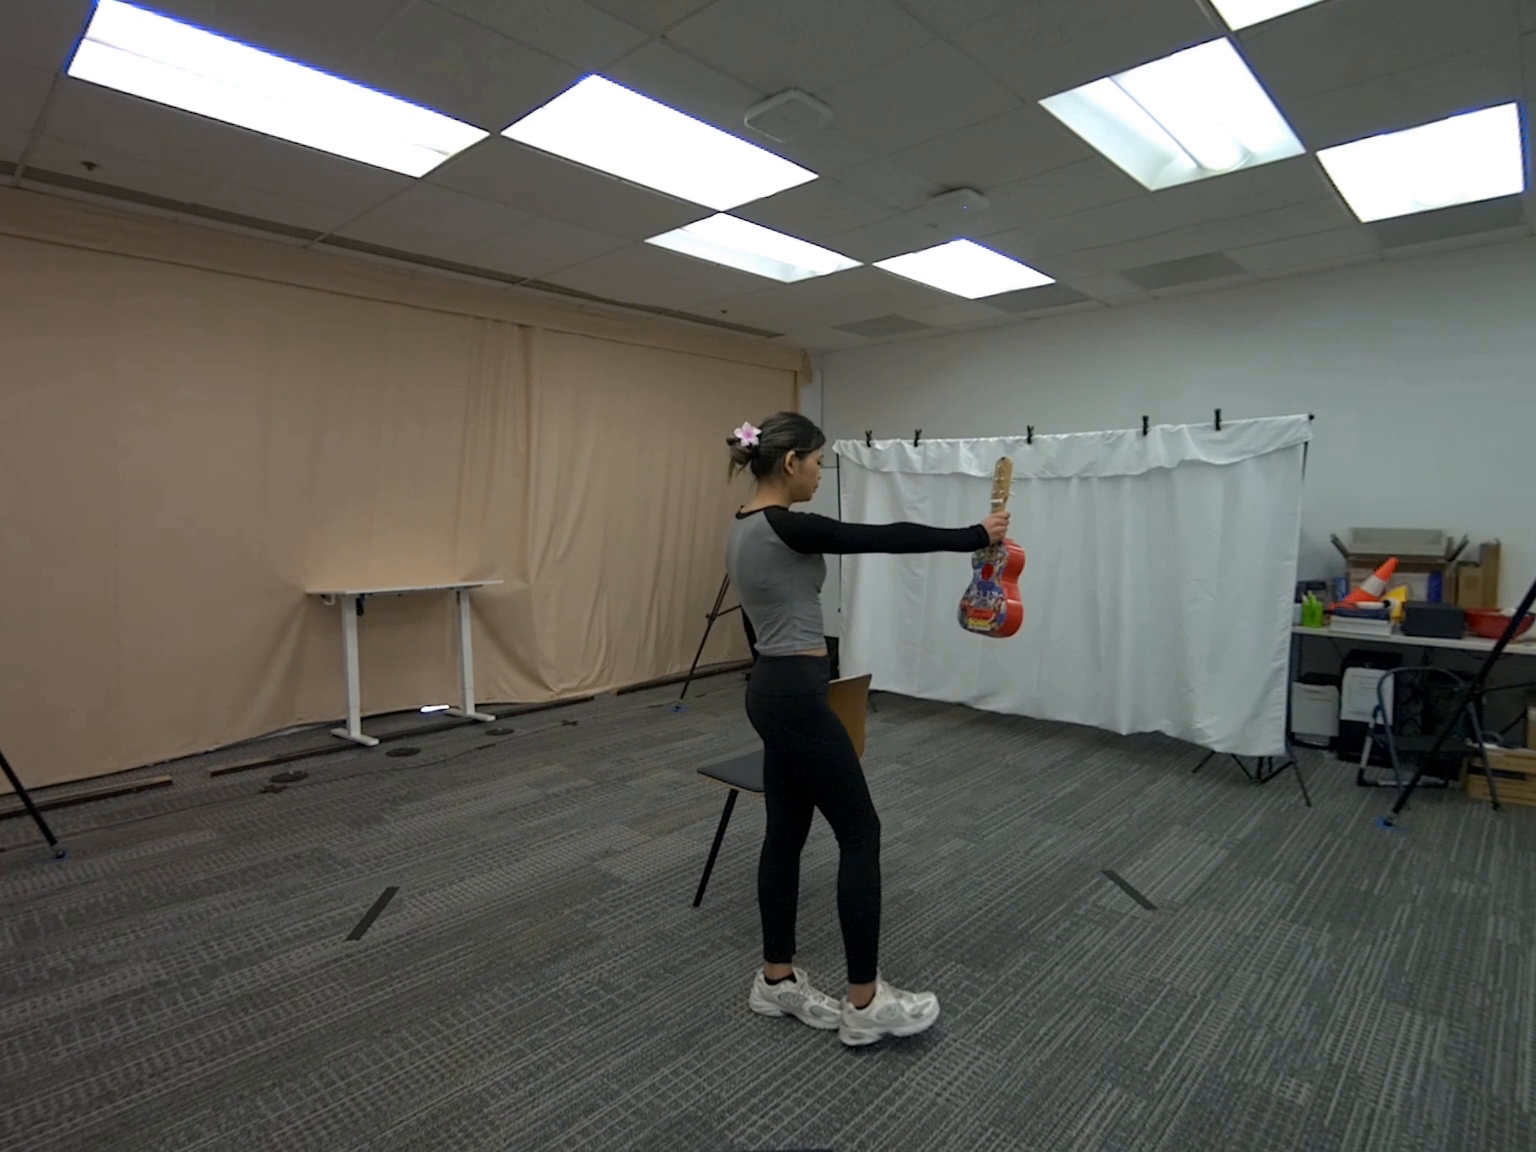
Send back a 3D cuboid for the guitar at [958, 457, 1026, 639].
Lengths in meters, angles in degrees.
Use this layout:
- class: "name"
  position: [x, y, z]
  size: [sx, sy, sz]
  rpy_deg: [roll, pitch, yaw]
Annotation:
- class: "guitar"
  position: [0.662, -0.075, 2.308]
  size: [0.069, 0.497, 0.198]
  rpy_deg: [11, 5, -25]
